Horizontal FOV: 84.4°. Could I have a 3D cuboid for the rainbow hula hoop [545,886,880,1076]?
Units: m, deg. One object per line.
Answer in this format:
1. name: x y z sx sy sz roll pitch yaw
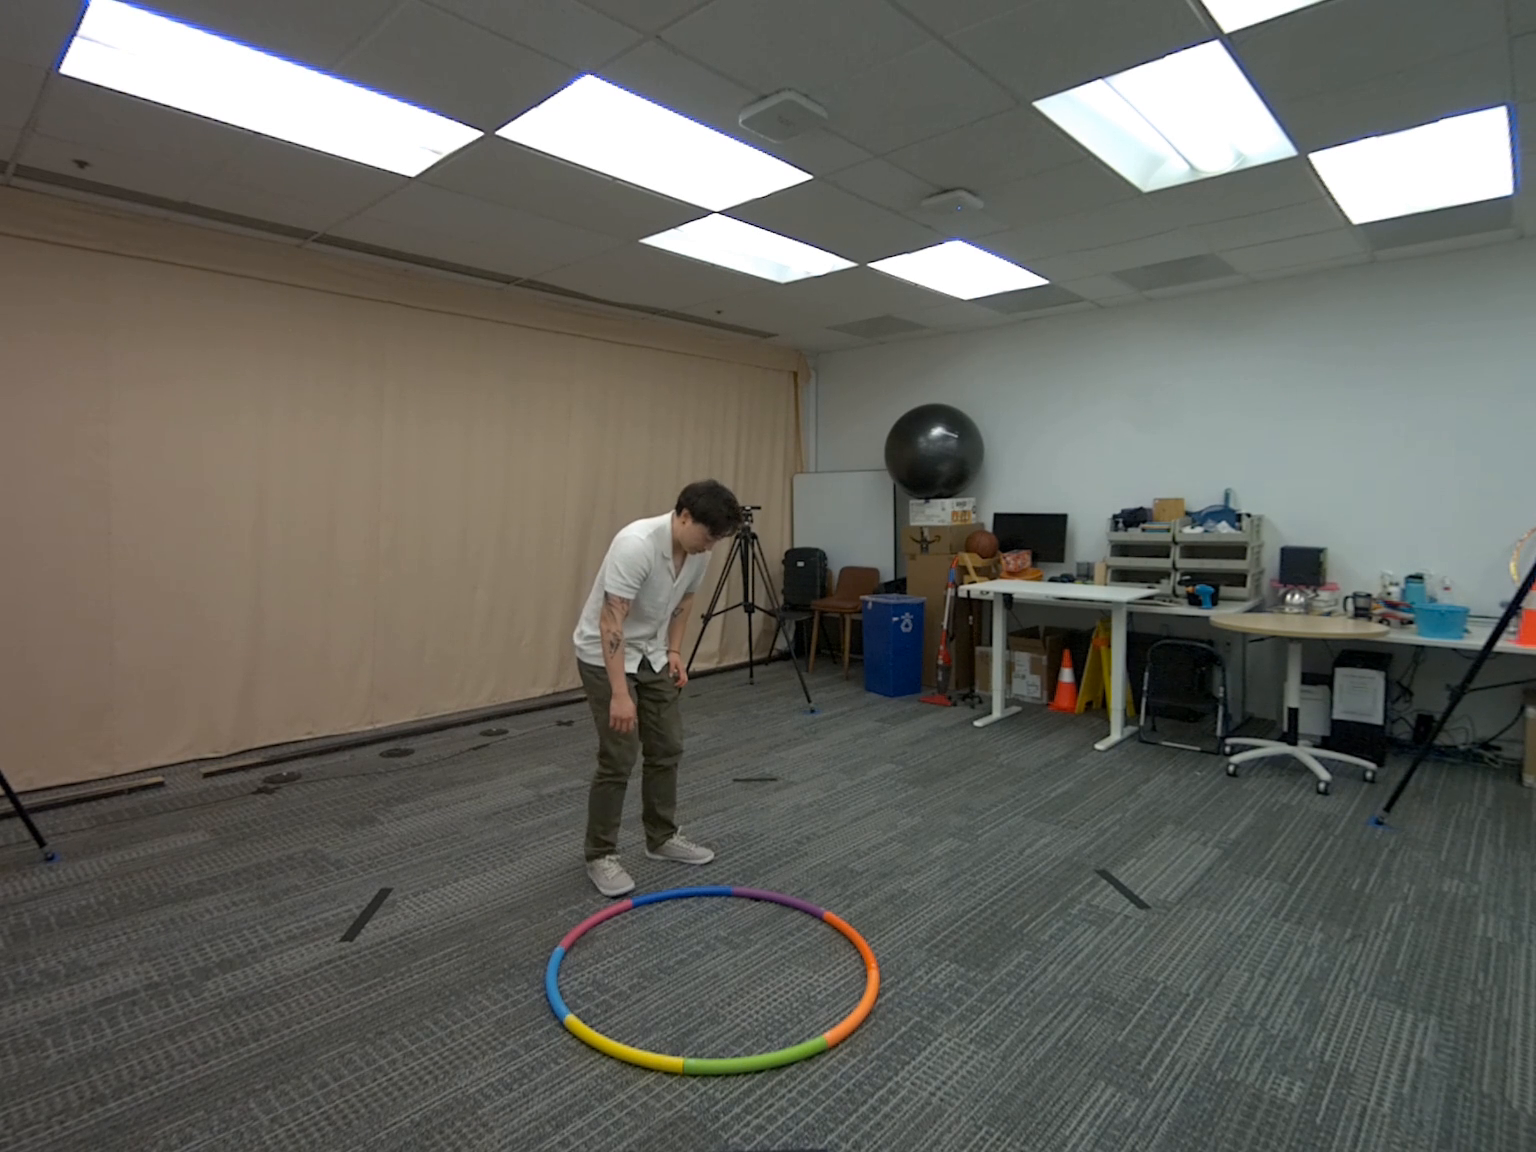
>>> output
1. rainbow hula hoop: -0.160 1.151 2.541 0.978 0.035 0.982 0 4 -2
